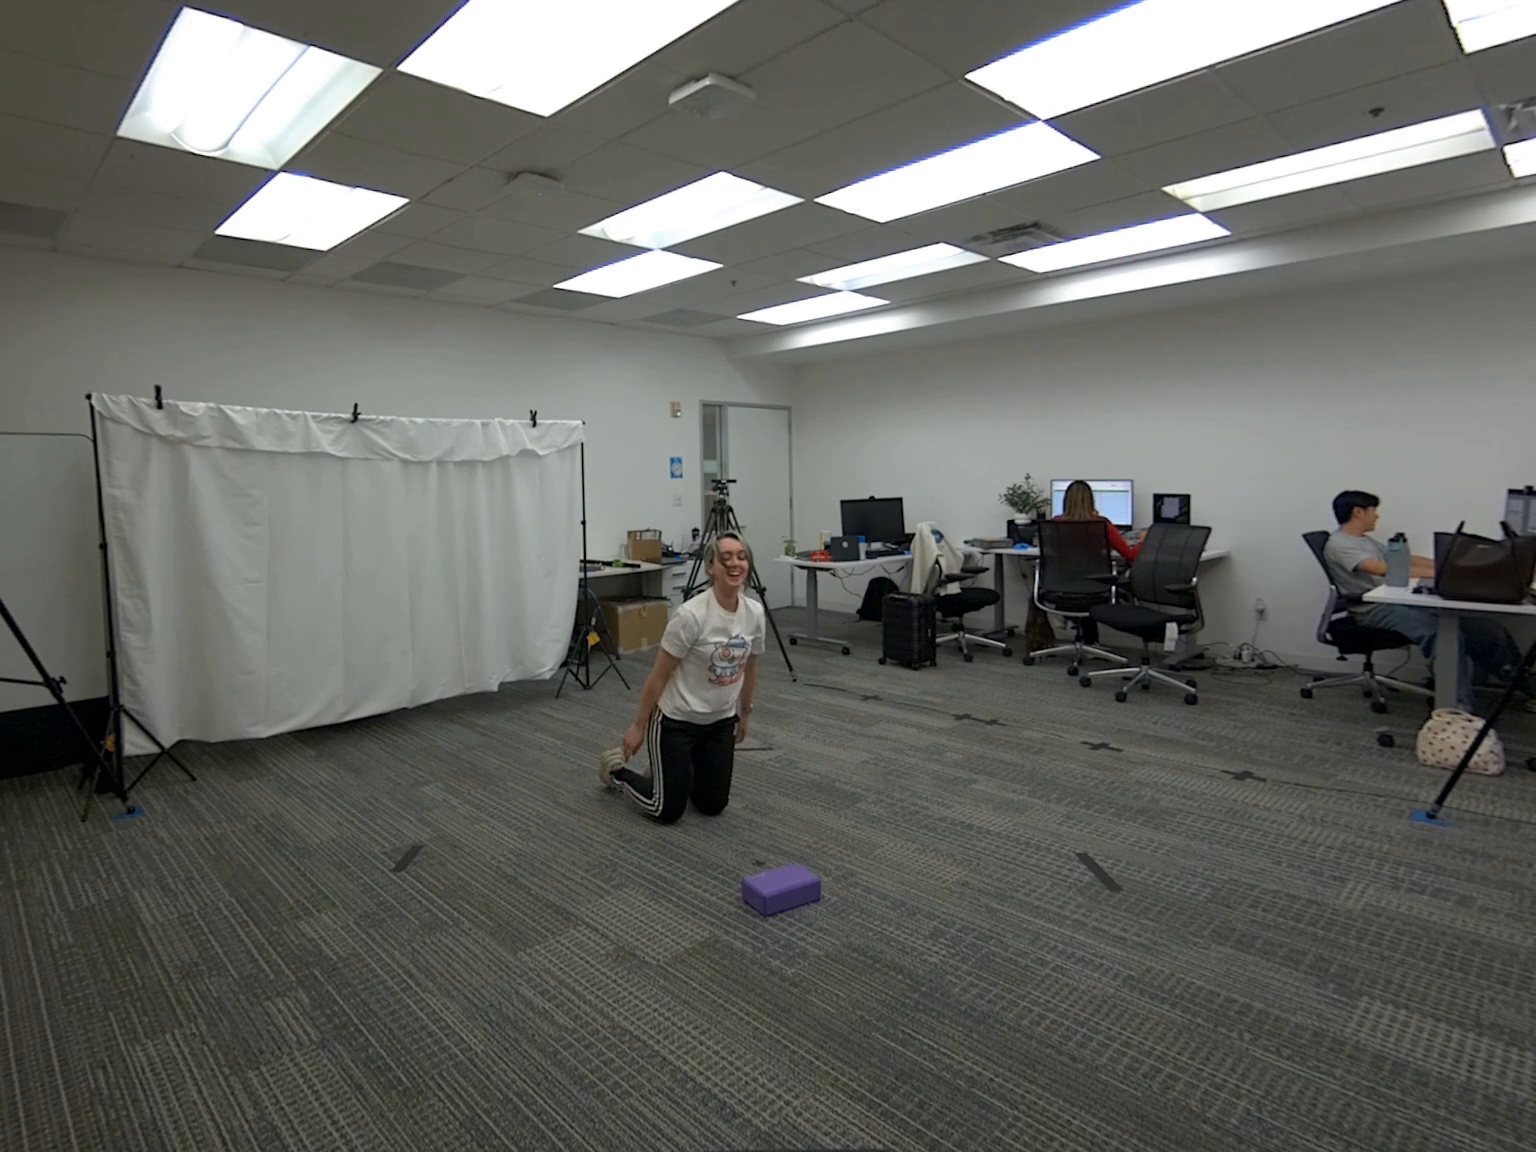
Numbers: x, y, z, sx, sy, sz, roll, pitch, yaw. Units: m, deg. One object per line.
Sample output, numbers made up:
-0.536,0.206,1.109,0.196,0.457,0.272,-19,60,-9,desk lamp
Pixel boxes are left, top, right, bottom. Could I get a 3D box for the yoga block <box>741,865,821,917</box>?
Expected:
0.047,1.037,2.836,0.224,0.076,0.153,-3,6,-30,yoga block
